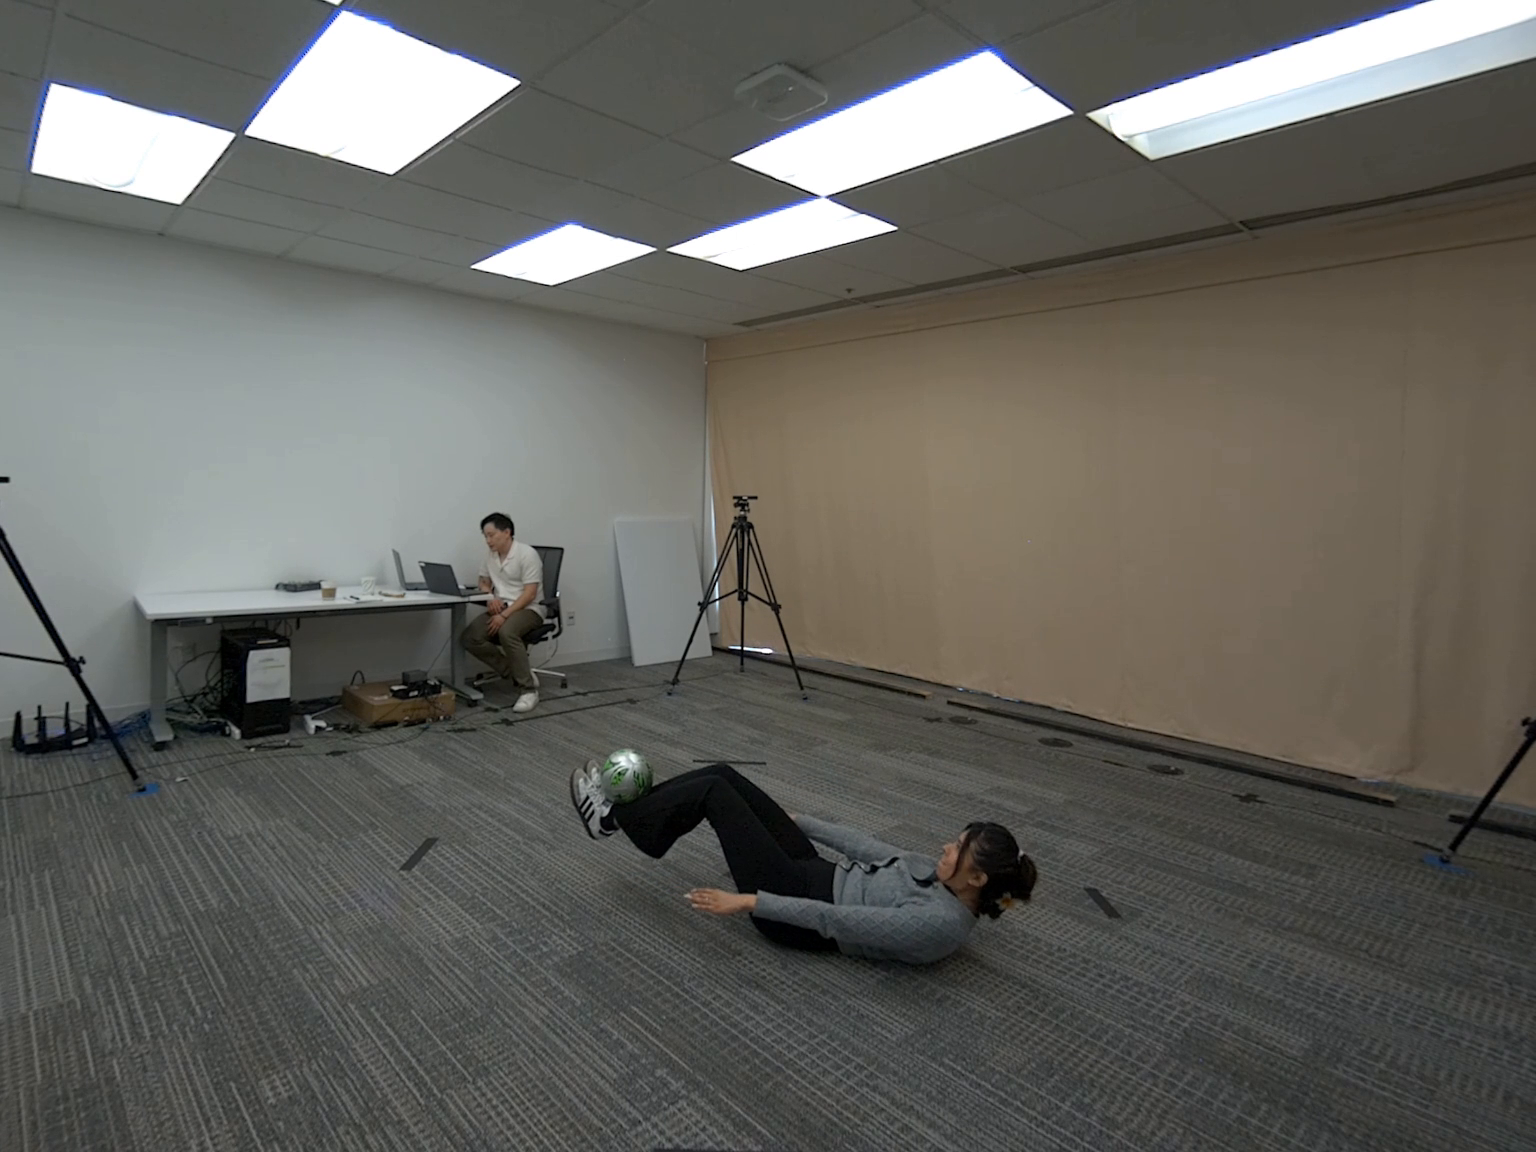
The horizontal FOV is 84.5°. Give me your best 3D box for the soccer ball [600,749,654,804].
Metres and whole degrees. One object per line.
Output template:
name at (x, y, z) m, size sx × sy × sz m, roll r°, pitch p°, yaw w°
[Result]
soccer ball at (-0.505, 0.704, 2.914) m, size 0.187 × 0.187 × 0.188 m, roll 1°, pitch 4°, yaw -1°
